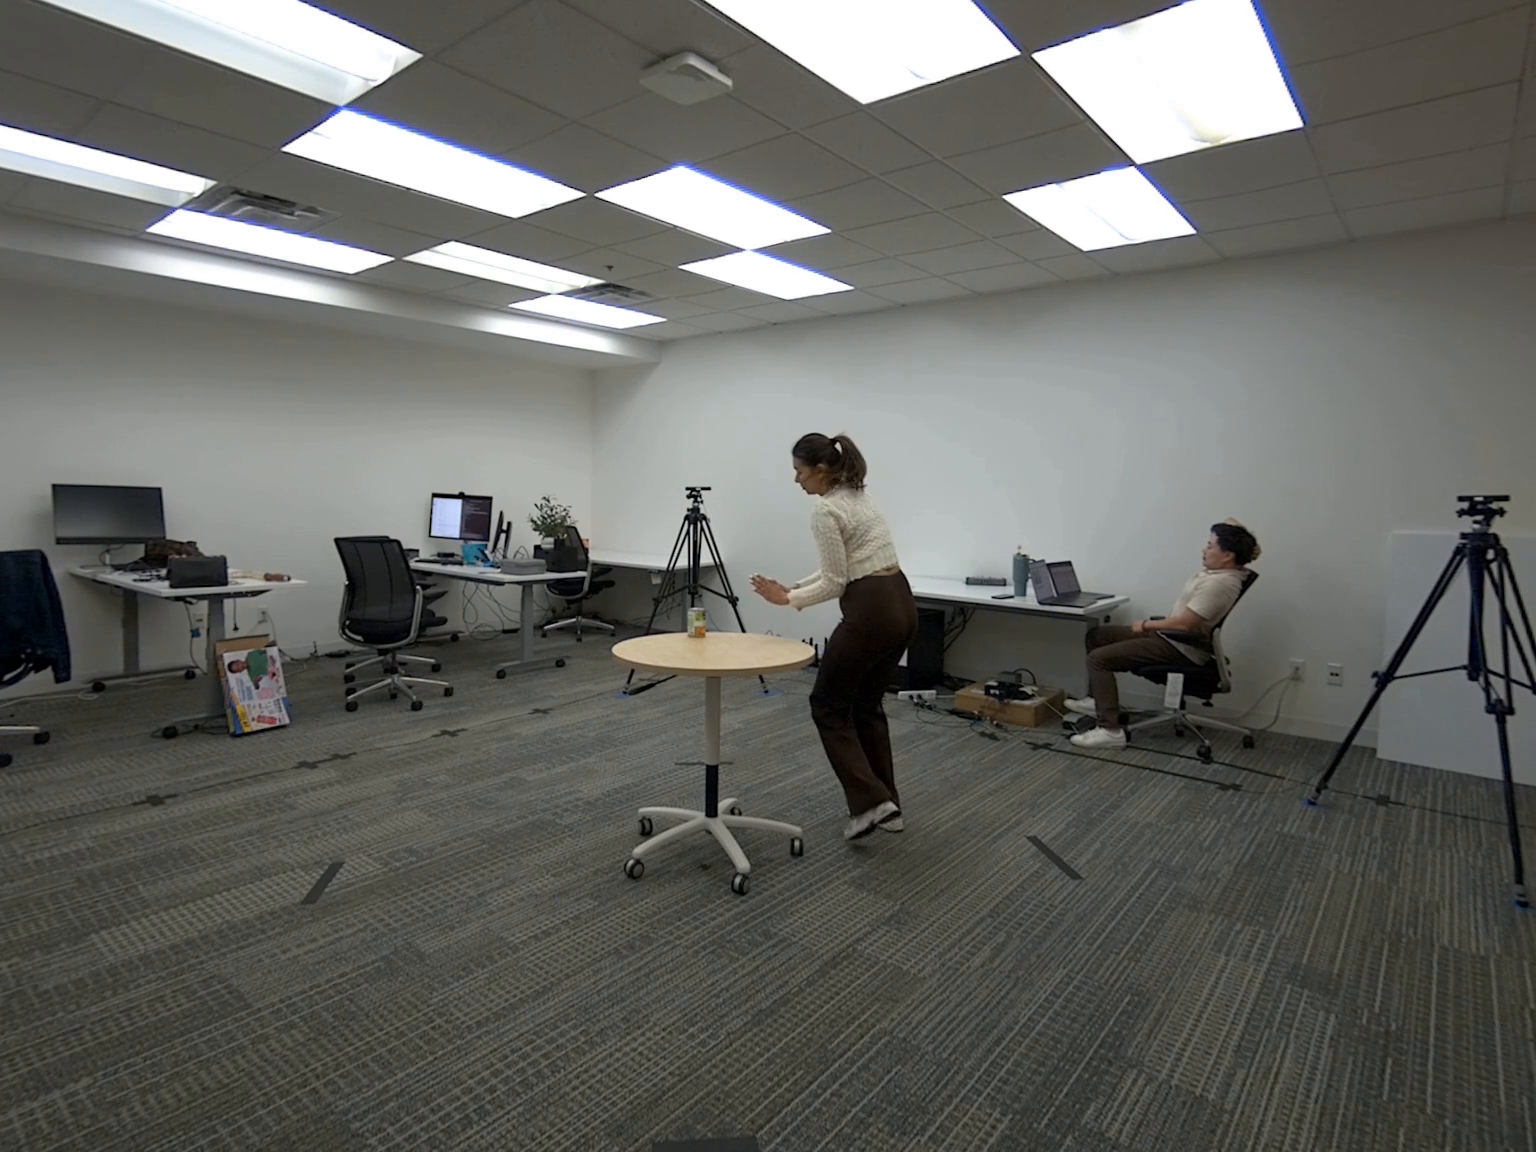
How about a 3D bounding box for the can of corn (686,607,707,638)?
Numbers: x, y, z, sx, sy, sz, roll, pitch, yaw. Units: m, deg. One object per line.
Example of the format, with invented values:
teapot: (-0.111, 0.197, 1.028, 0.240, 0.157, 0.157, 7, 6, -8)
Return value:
can of corn: (-0.300, 0.192, 3.501, 0.074, 0.111, 0.074, 3, -1, -2)
